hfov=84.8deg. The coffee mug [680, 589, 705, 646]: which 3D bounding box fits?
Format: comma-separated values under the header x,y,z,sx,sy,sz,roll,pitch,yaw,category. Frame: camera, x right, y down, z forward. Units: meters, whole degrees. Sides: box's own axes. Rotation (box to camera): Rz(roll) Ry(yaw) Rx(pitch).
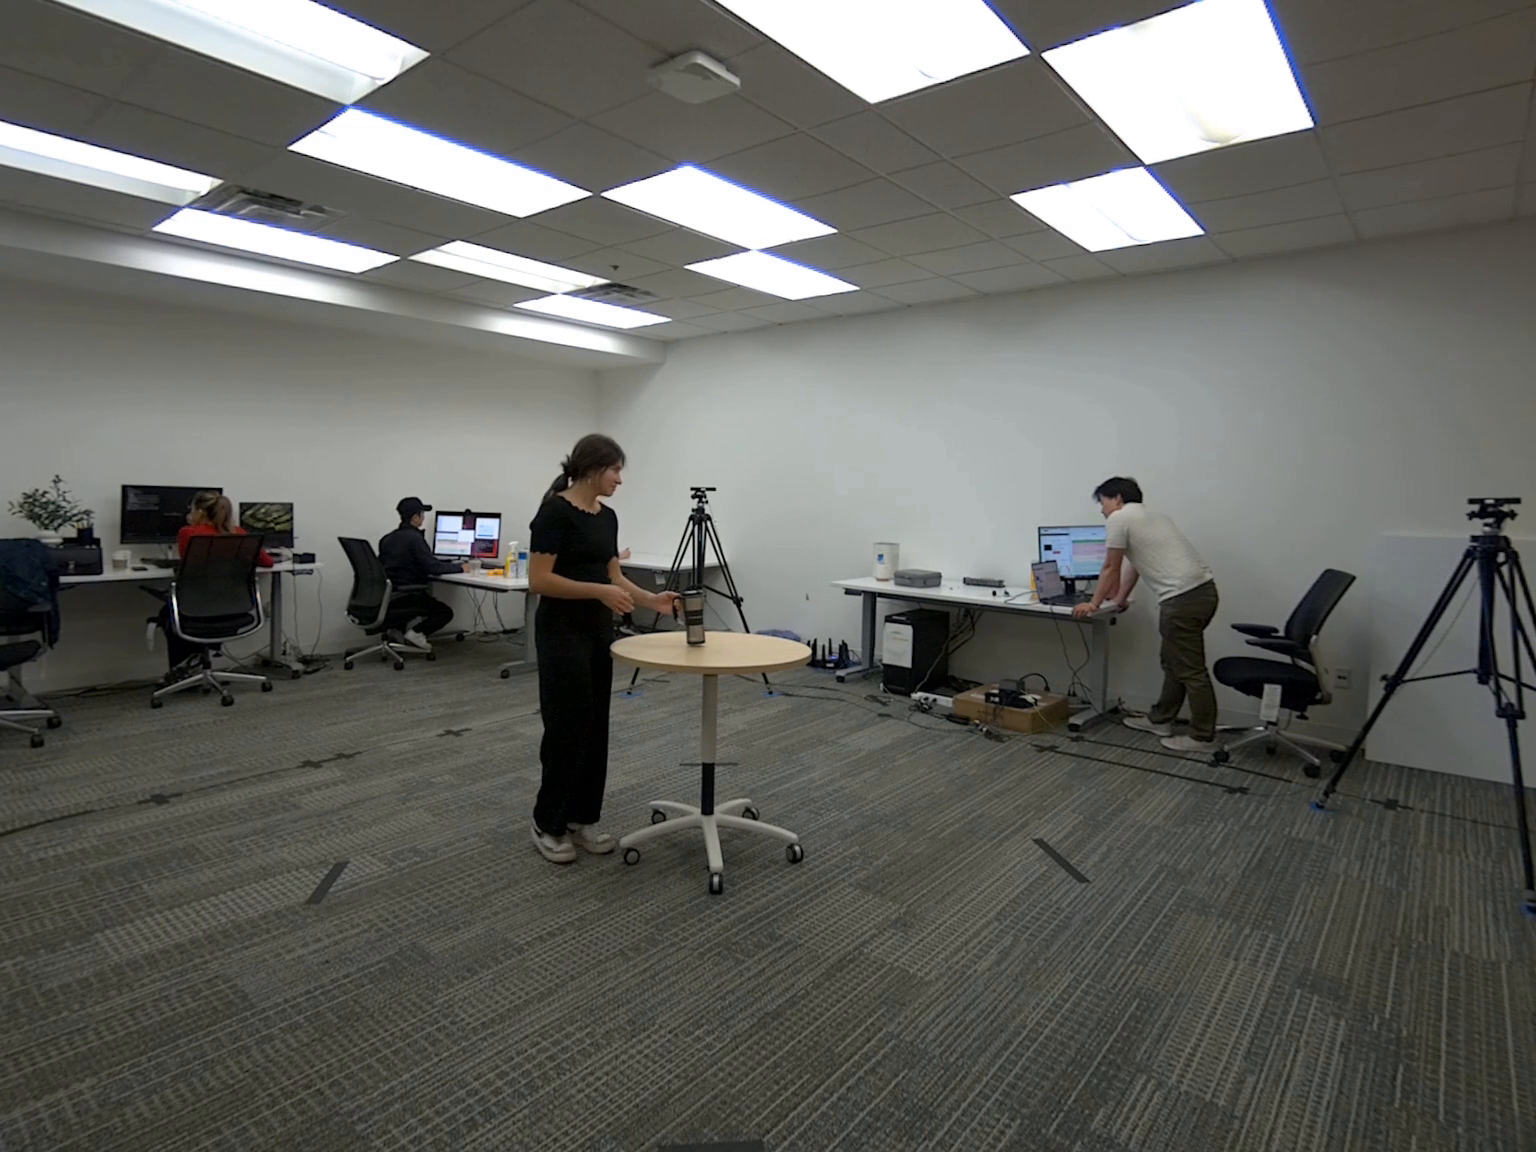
x,y,z,sx,sy,sz,roll,pitch,yaw,category
-0.314,0.160,3.270,0.086,0.201,0.126,-15,10,-43,coffee mug
